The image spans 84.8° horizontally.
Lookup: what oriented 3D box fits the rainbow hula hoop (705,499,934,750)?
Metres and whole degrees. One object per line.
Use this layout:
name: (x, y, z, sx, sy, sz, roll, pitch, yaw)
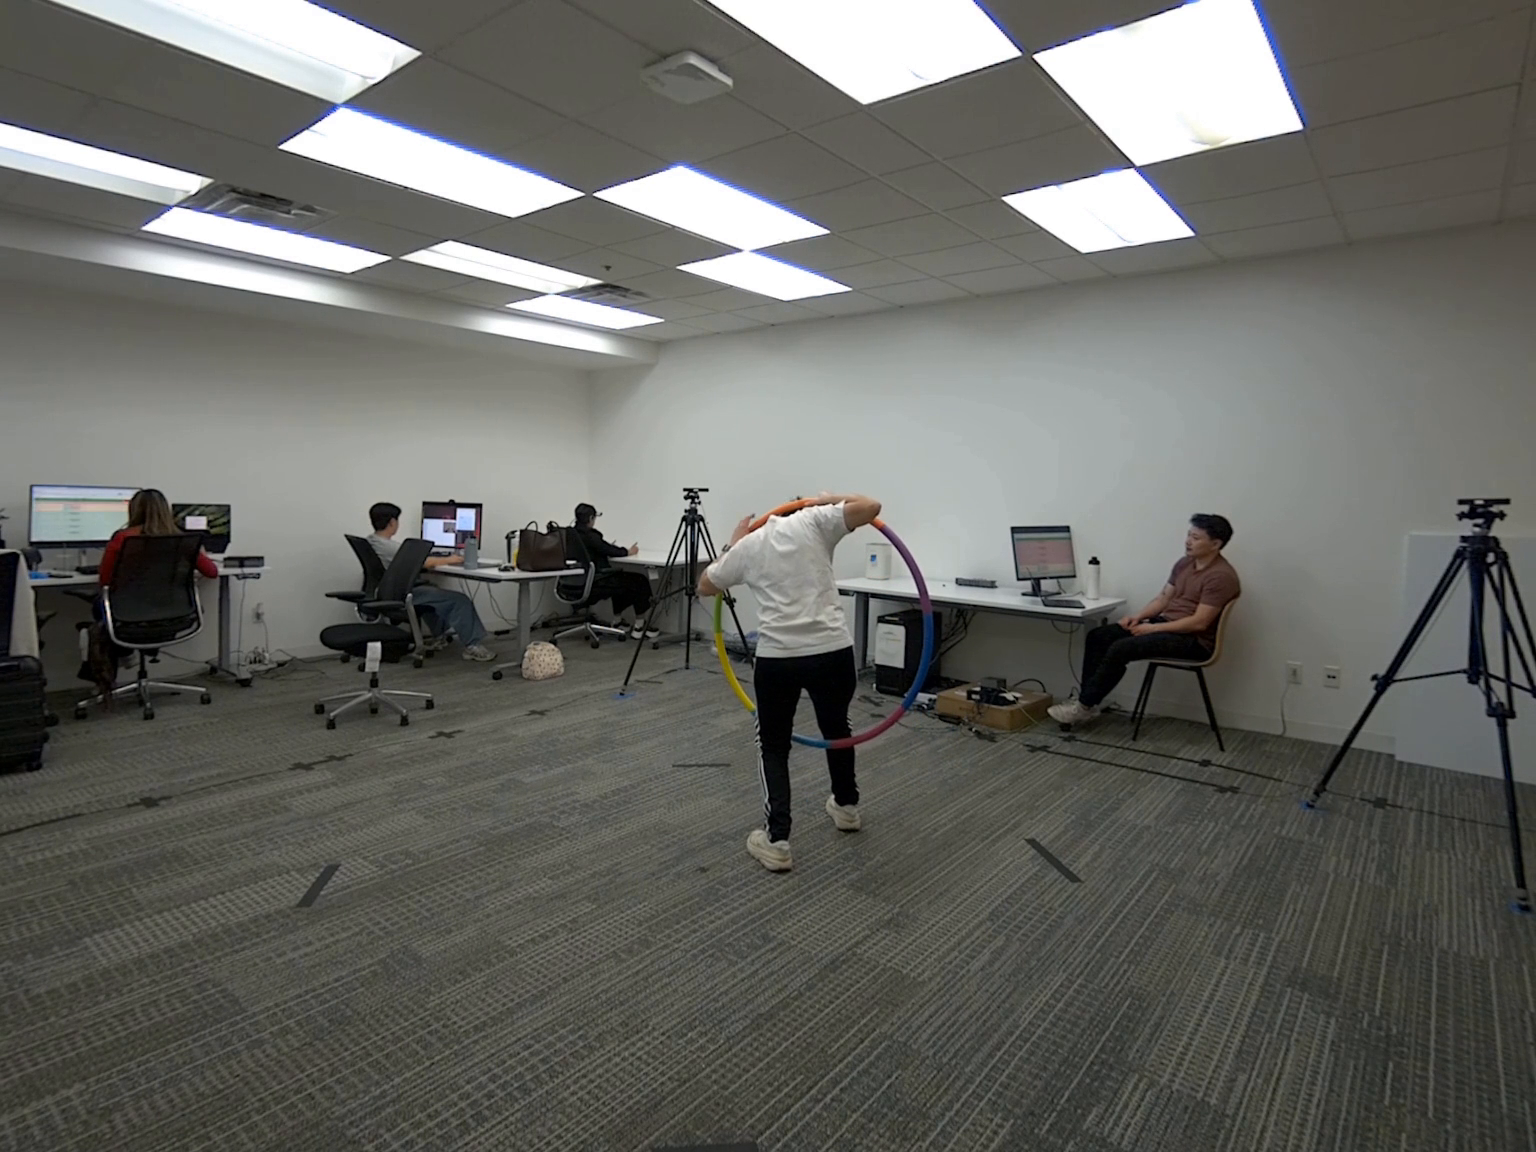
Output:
rainbow hula hoop: (0.174, 0.183, 3.410, 1.008, 0.976, 0.034, 3, 3, 32)
